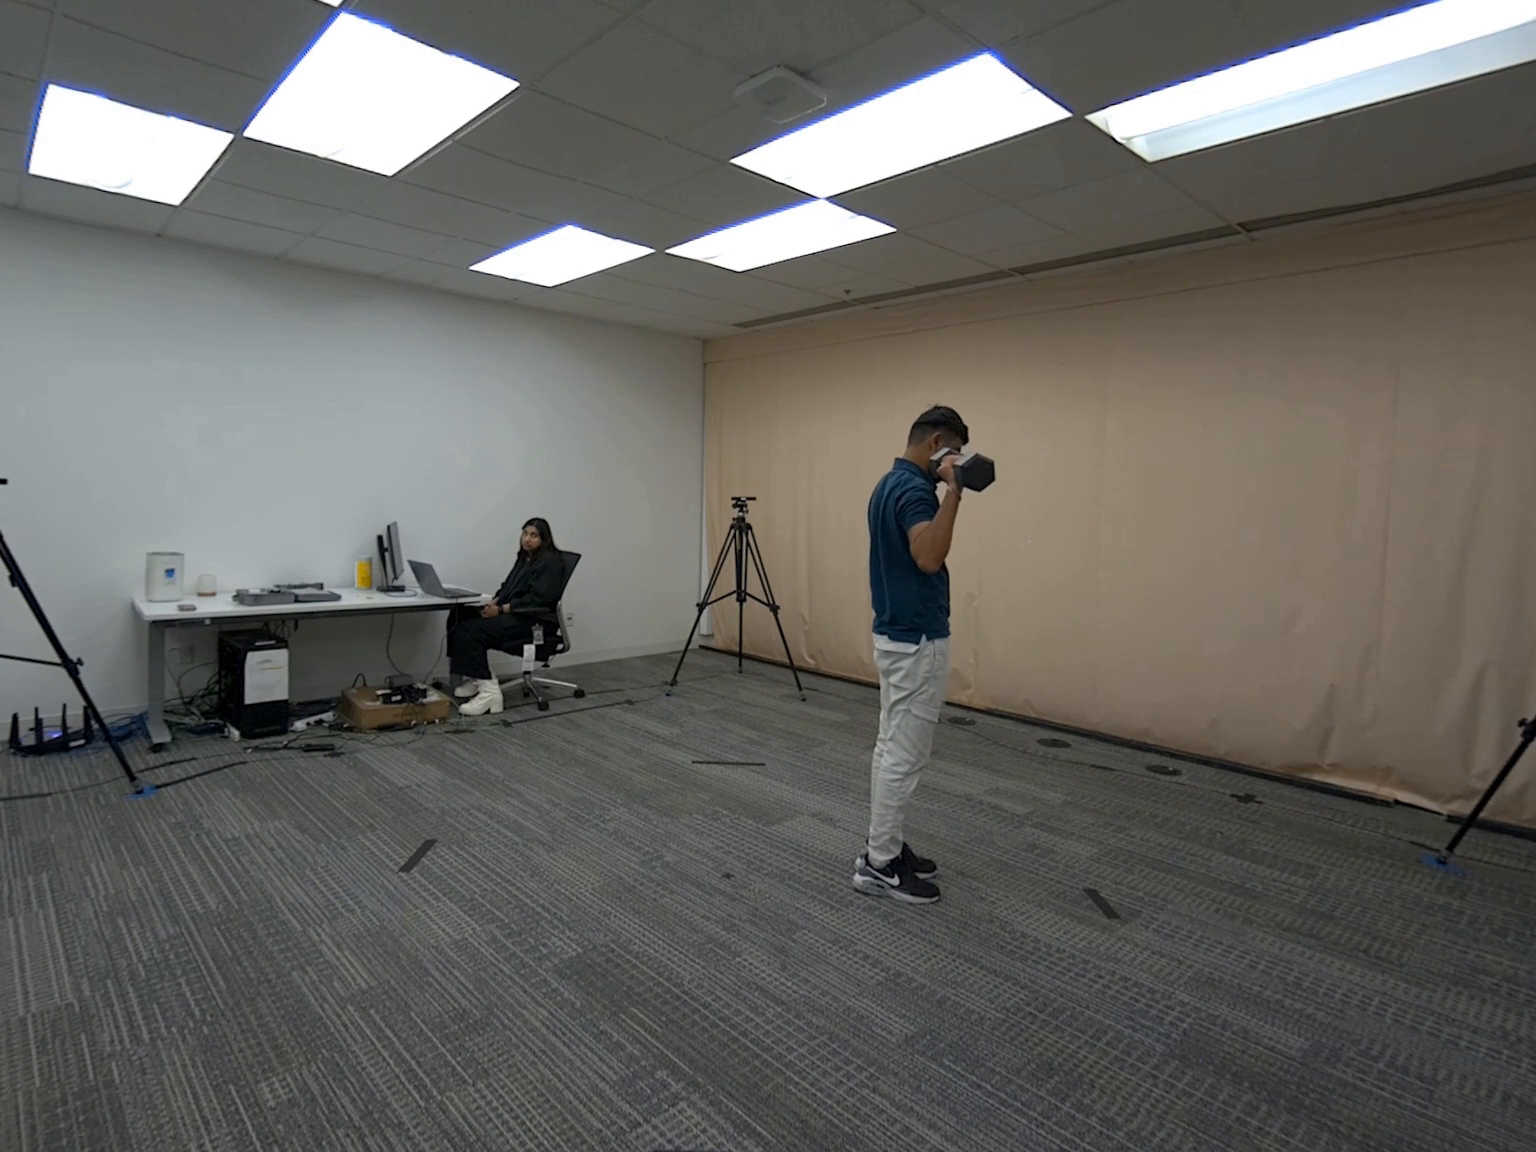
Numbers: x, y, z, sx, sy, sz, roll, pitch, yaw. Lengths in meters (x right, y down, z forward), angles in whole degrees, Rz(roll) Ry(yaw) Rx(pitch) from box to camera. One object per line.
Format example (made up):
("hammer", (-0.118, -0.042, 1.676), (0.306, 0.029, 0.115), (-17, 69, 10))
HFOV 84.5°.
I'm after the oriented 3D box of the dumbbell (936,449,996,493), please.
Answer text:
("dumbbell", (0.608, -0.354, 2.698), (0.122, 0.108, 0.297), (21, 8, -11))
